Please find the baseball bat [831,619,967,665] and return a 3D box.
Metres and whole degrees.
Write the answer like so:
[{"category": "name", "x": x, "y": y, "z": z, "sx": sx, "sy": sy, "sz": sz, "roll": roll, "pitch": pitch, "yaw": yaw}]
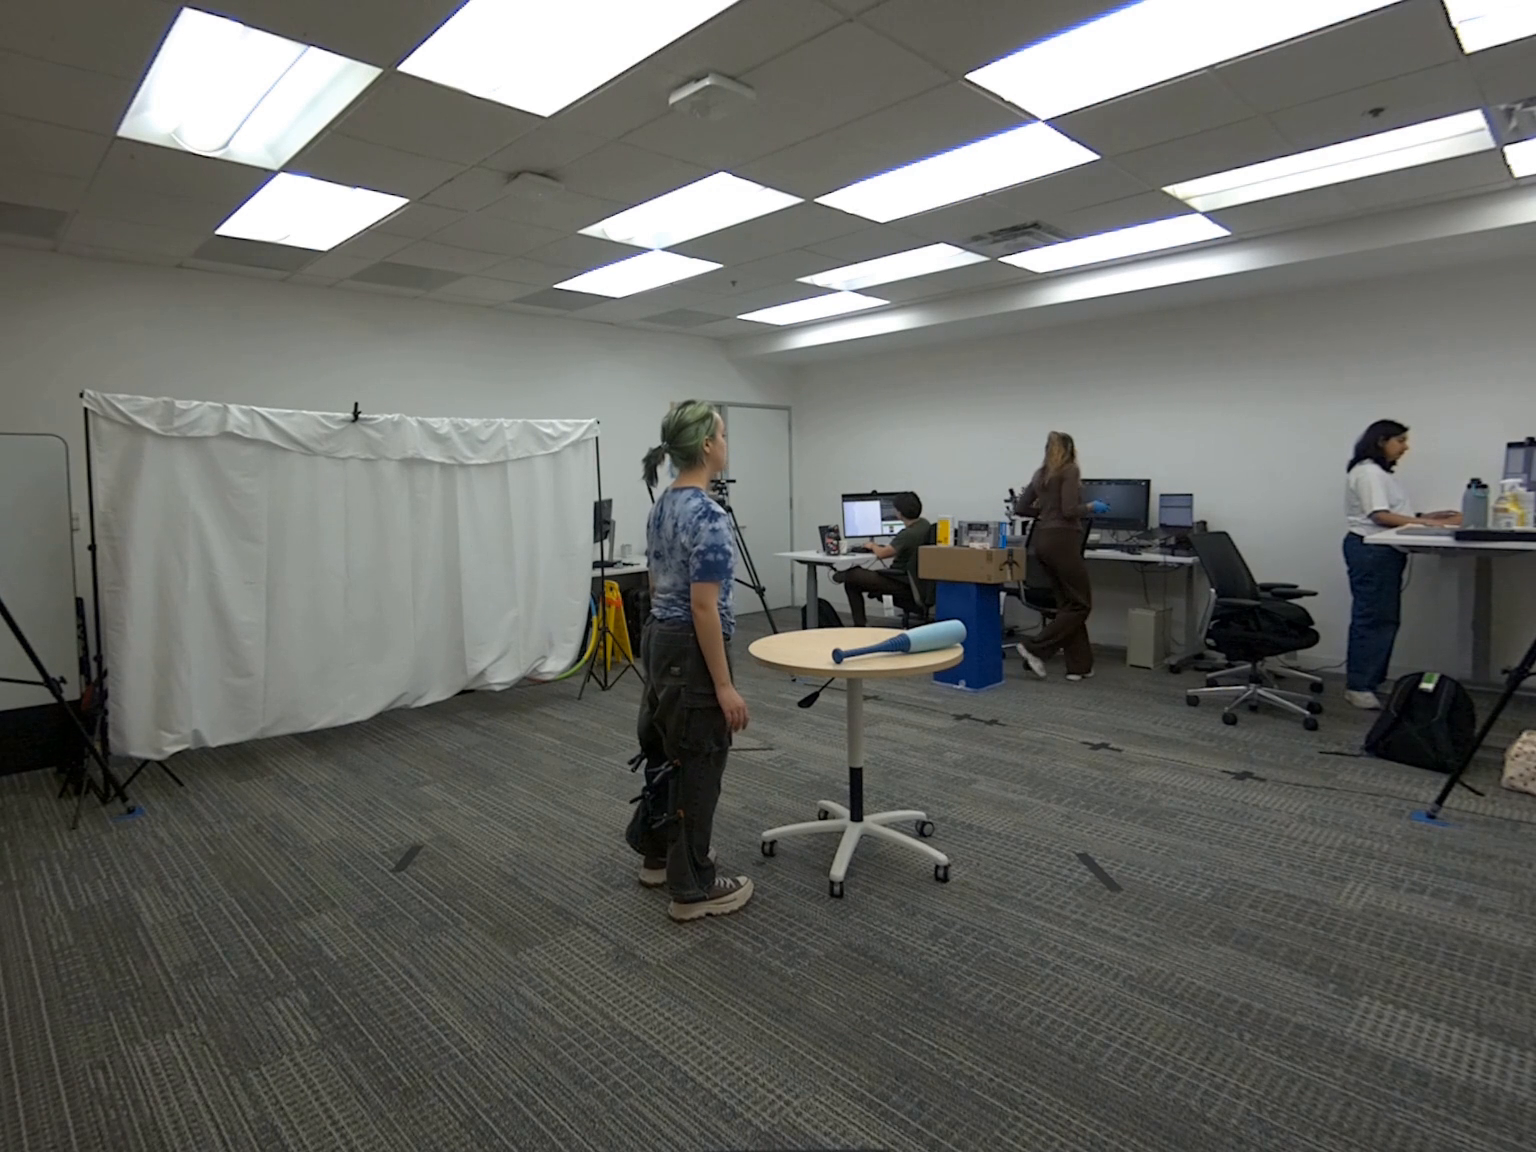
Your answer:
[{"category": "baseball bat", "x": 0.462, "y": 0.239, "z": 2.937, "sx": 0.532, "sy": 0.088, "sz": 0.091, "roll": -9, "pitch": 8, "yaw": -27}]
